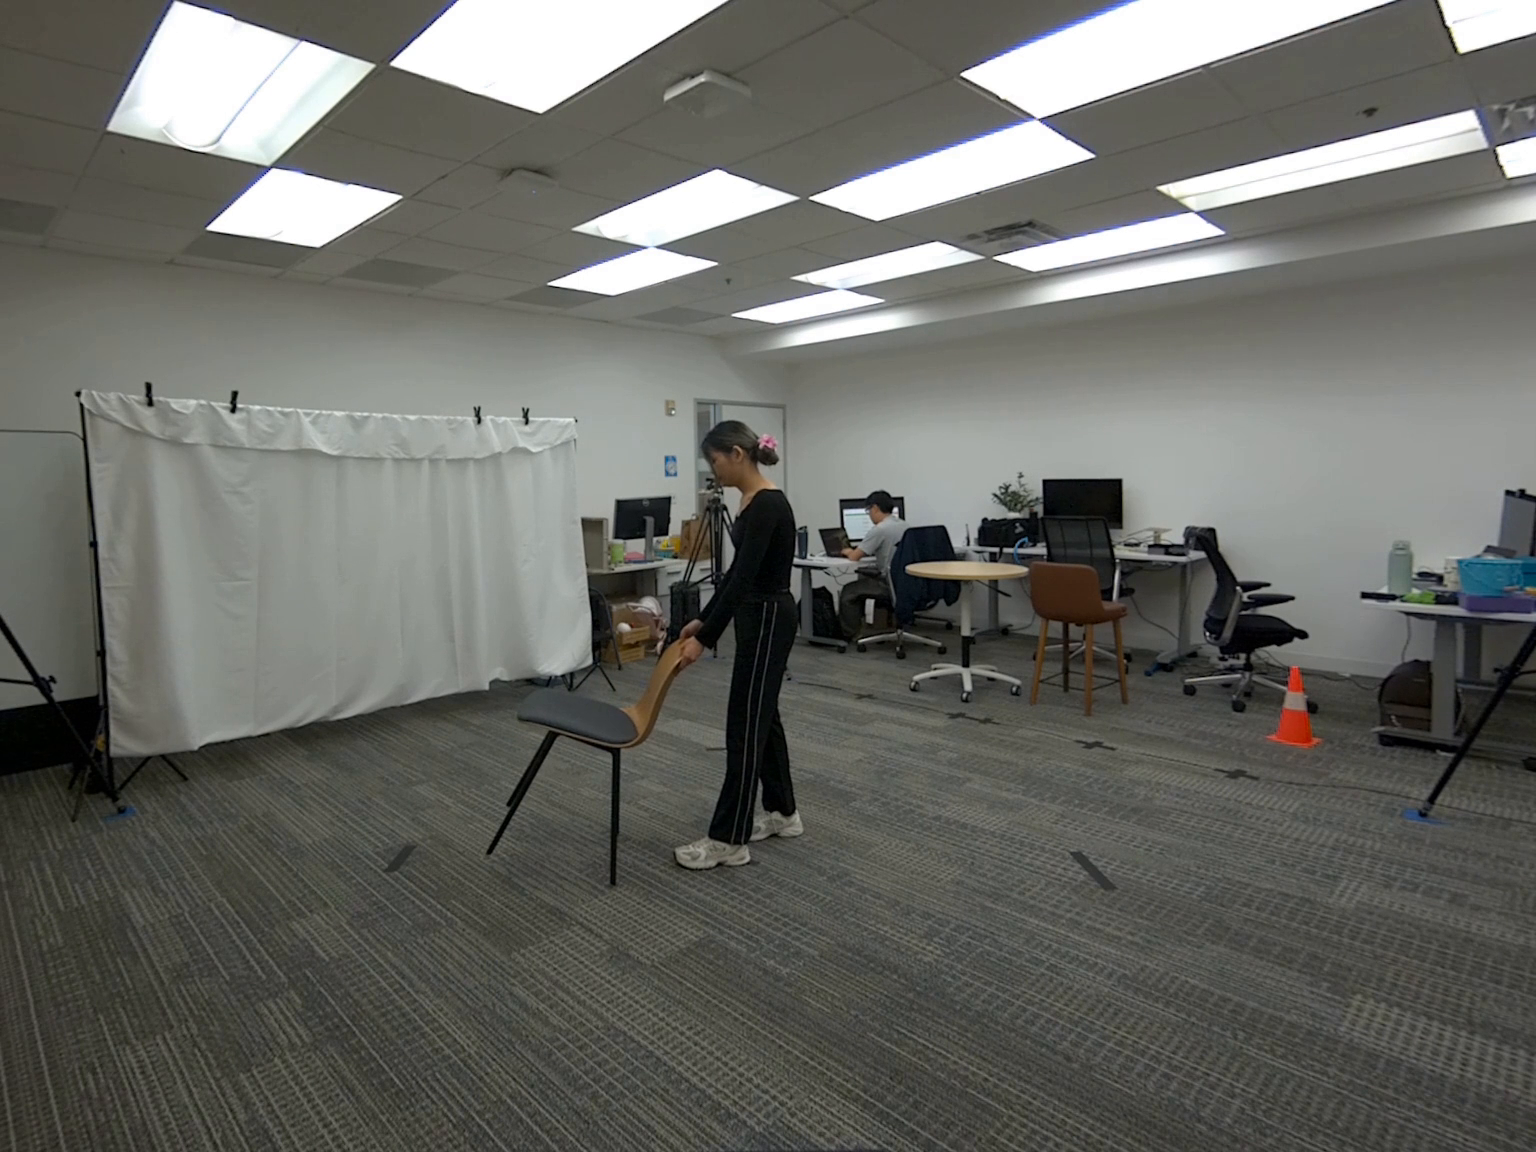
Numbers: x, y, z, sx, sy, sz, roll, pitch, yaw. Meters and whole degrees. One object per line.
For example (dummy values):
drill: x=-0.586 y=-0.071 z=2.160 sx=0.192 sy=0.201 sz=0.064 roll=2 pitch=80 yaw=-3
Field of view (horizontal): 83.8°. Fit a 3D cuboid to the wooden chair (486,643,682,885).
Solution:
wooden chair: x=-0.653 y=0.572 z=3.122 sx=0.518 sy=0.876 sz=0.483 roll=21 pitch=2 yaw=-8
